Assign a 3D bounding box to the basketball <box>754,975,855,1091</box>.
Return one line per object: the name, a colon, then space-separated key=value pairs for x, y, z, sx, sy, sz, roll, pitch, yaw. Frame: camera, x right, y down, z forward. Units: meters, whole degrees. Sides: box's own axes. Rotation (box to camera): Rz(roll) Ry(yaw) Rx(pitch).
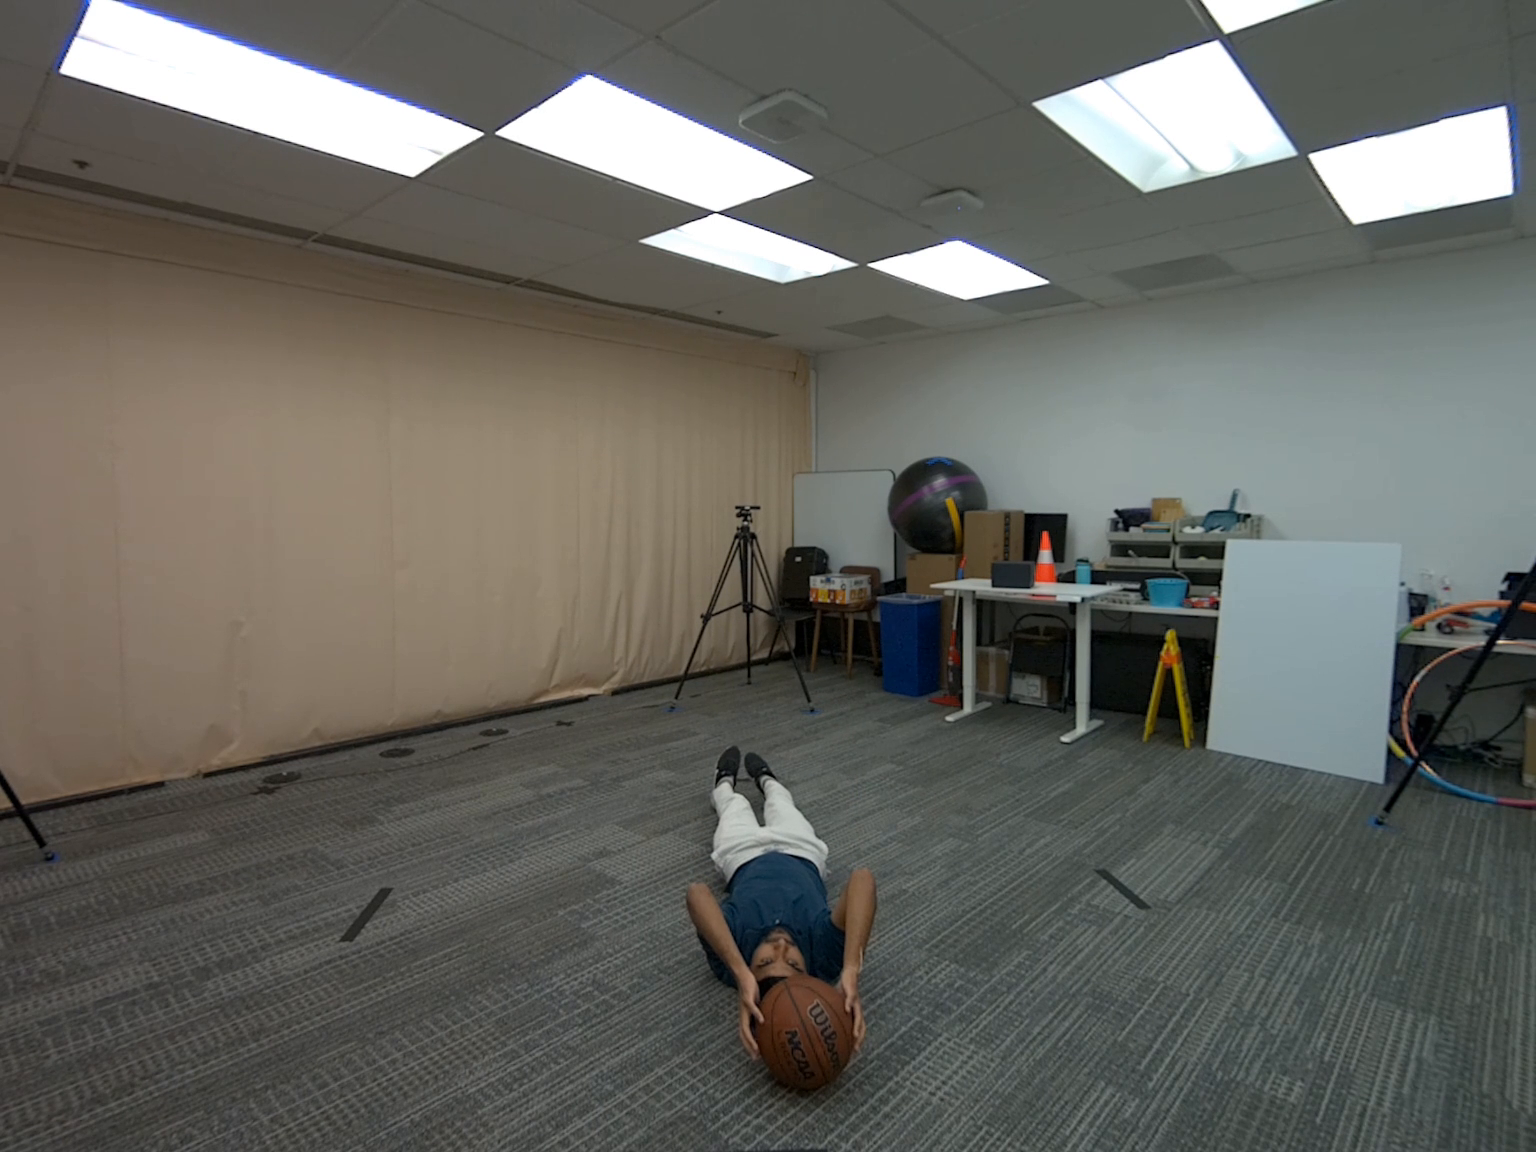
basketball: x=0.097 y=1.103 z=2.035 sx=0.236 sy=0.235 sz=0.237 roll=0 pitch=4 yaw=-2
